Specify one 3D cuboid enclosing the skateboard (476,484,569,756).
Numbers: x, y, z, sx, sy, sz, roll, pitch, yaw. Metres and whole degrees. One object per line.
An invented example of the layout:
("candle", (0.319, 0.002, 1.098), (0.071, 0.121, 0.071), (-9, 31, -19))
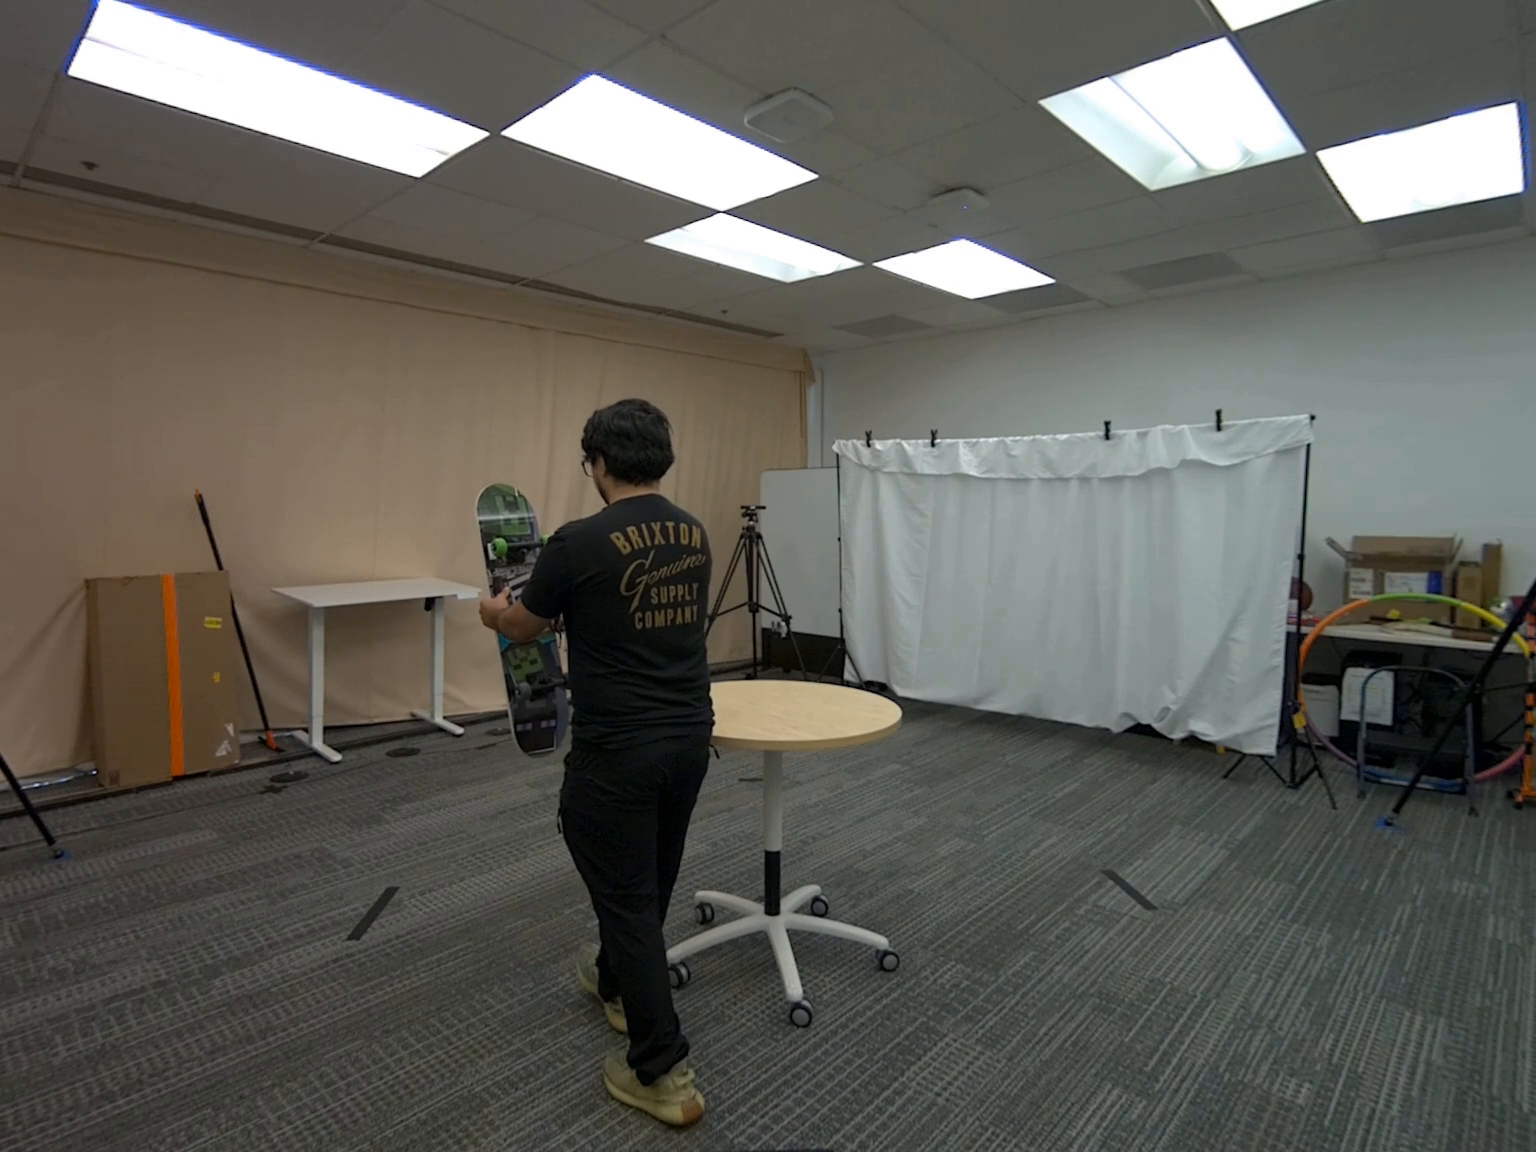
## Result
("skateboard", (-0.675, 0.115, 2.377), (0.113, 0.787, 0.188), (-12, -3, 41))
